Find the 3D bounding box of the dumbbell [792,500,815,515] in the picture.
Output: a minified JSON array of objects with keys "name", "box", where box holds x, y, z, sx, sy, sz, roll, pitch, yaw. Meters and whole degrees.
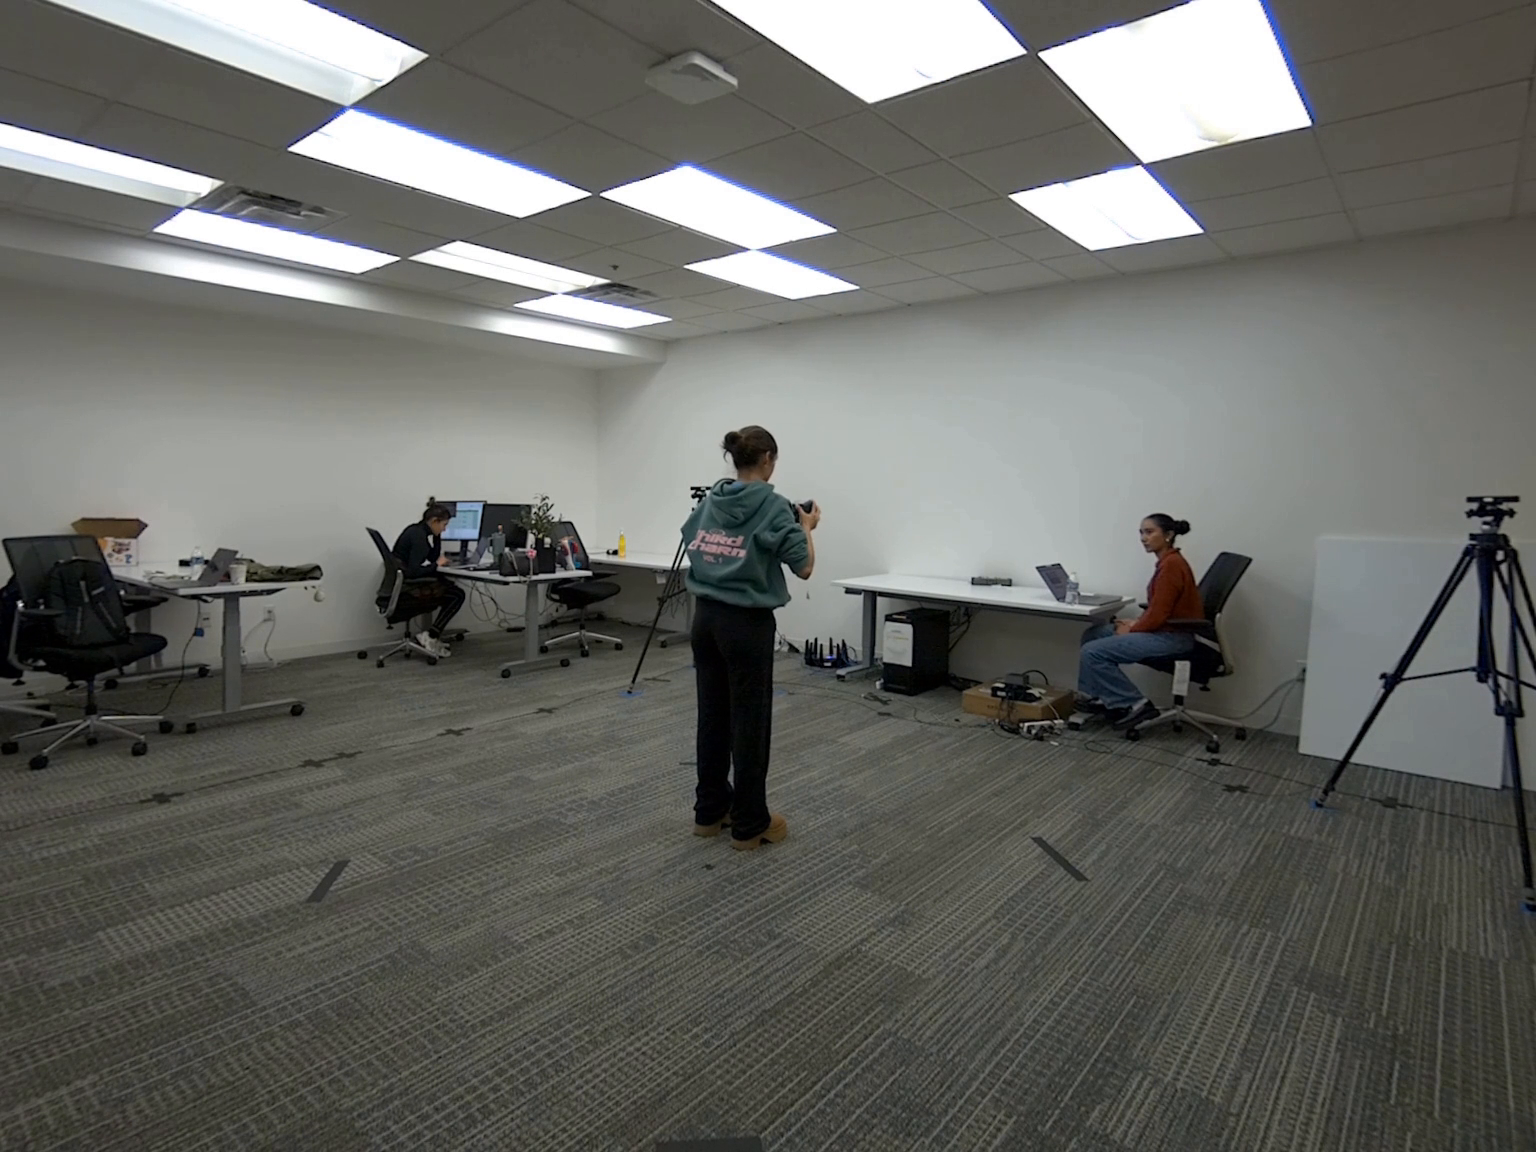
[{"name":"dumbbell","box":[0.042,-0.242,3.526,0.303,0.107,0.121,4,20,41]}]
